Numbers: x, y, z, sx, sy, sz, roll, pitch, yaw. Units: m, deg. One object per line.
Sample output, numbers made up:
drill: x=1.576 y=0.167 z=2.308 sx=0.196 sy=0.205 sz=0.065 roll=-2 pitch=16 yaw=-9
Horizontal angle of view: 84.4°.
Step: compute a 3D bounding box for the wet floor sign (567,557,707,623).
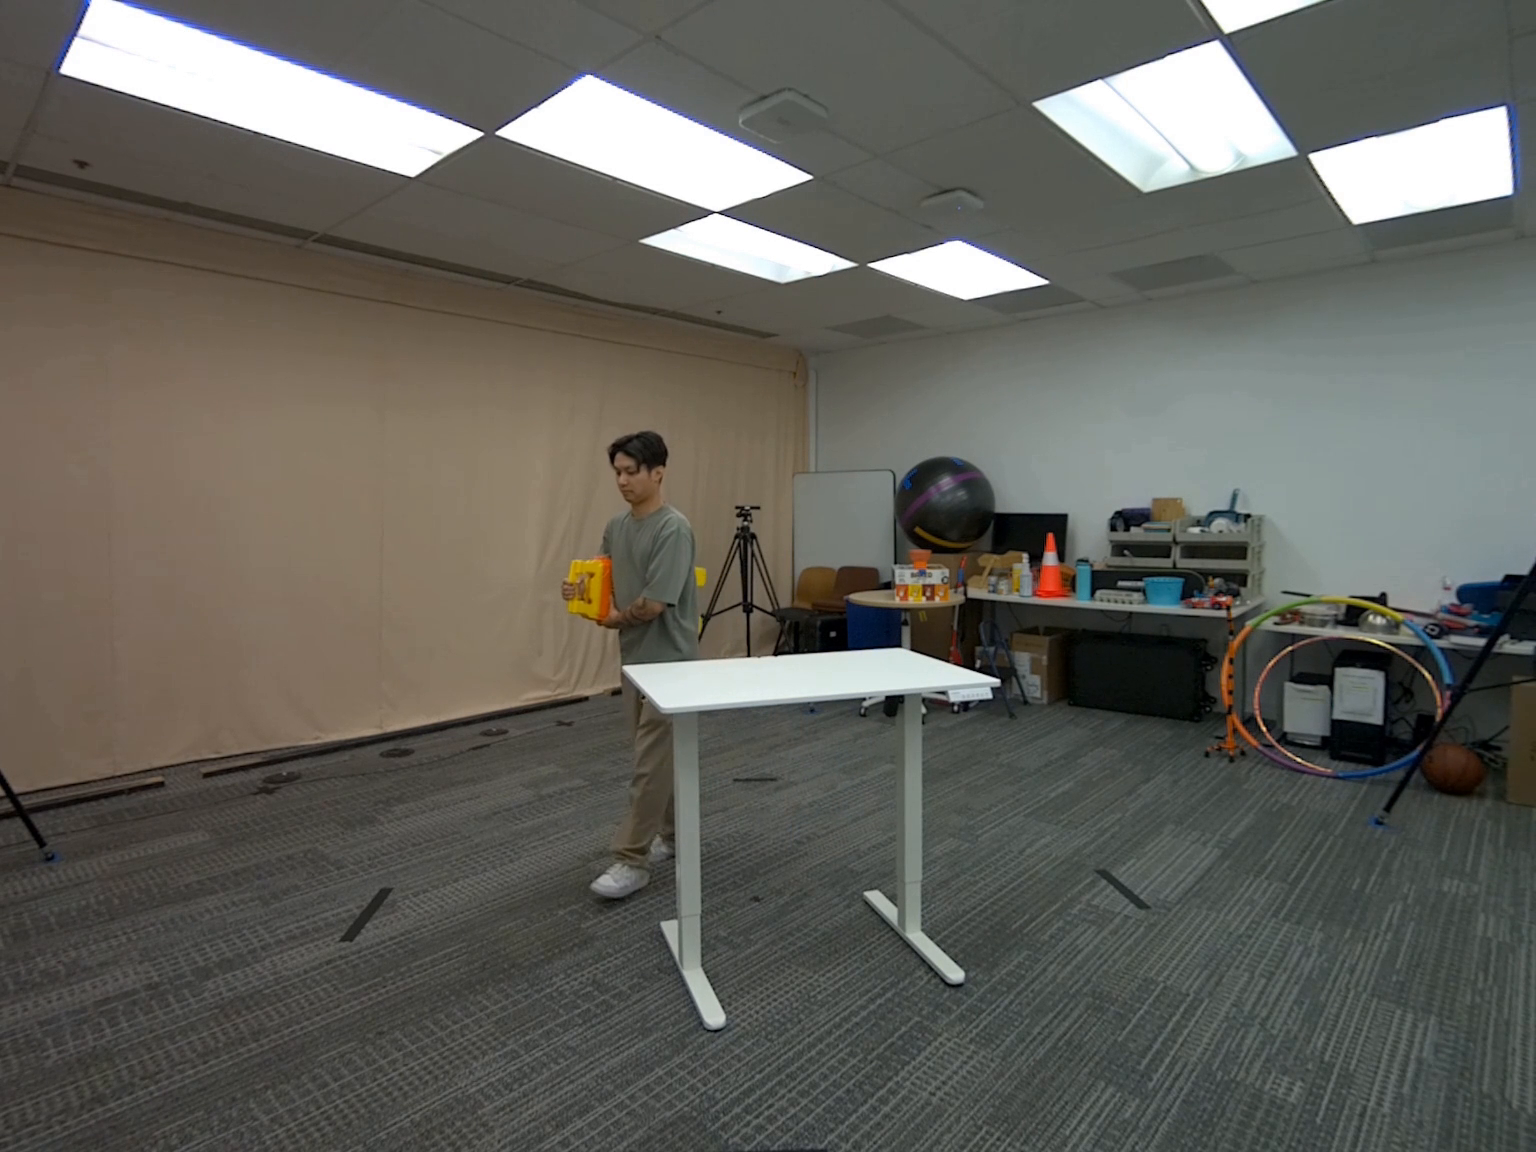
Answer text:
wet floor sign: x=-0.527 y=0.085 z=3.355 sx=0.299 sy=0.283 sz=0.623 roll=2 pitch=-6 yaw=40
